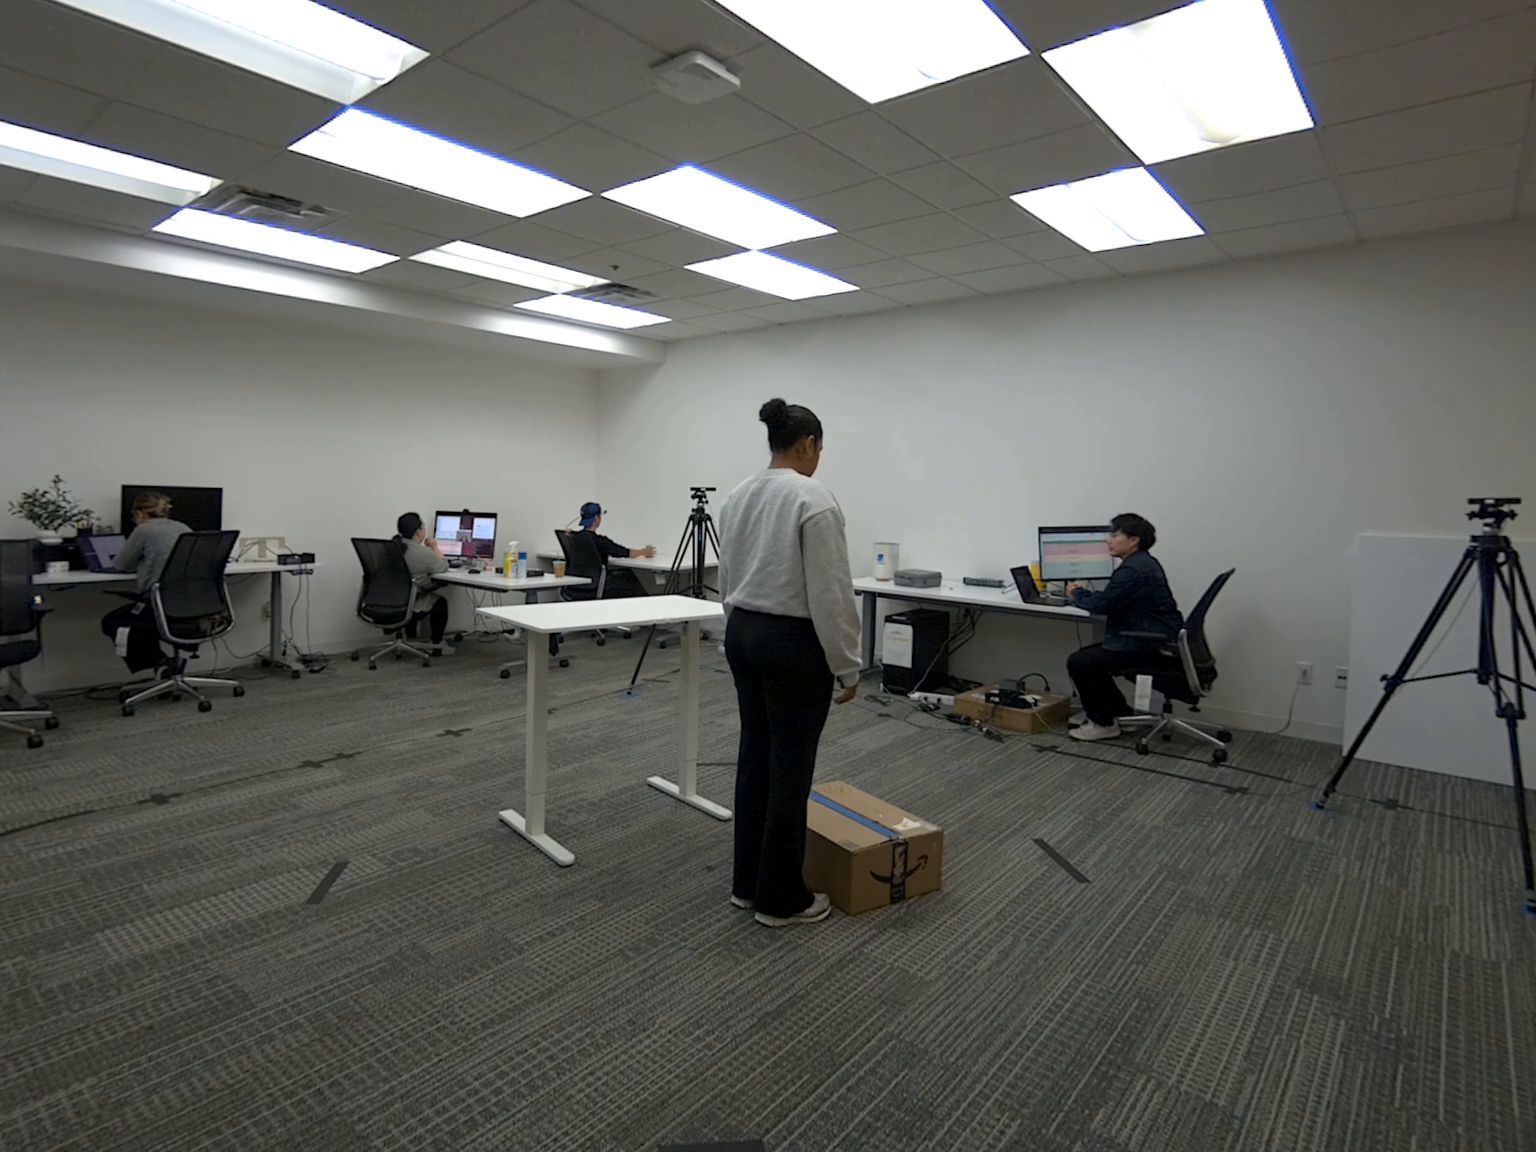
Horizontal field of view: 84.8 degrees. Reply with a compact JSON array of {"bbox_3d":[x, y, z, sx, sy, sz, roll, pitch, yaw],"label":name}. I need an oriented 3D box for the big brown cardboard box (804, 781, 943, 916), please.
[{"bbox_3d":[0.273,0.965,3.111,0.406,0.232,0.608,-2,6,-34],"label":"big brown cardboard box"}]
